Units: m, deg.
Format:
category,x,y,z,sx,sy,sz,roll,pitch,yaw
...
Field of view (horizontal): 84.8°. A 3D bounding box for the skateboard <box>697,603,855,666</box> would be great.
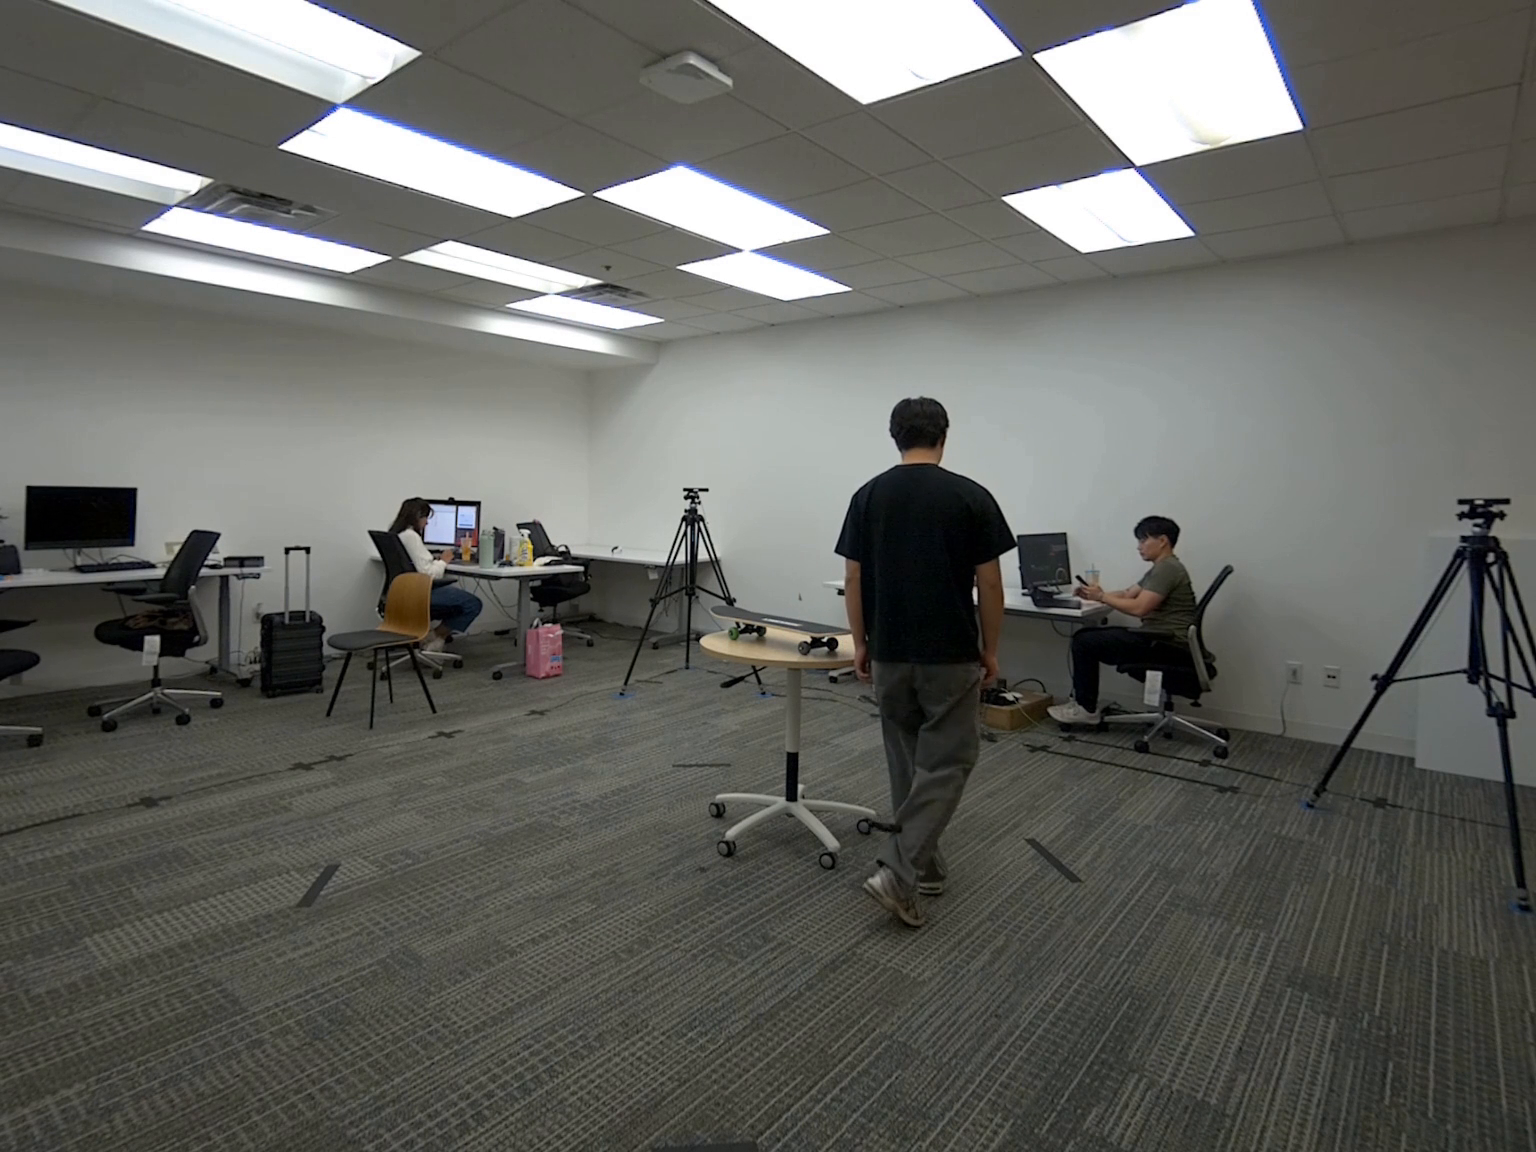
category,x,y,z,sx,sy,sz,roll,pitch,yaw
skateboard,0.042,0.218,3.340,0.188,0.110,0.813,-6,9,-42
